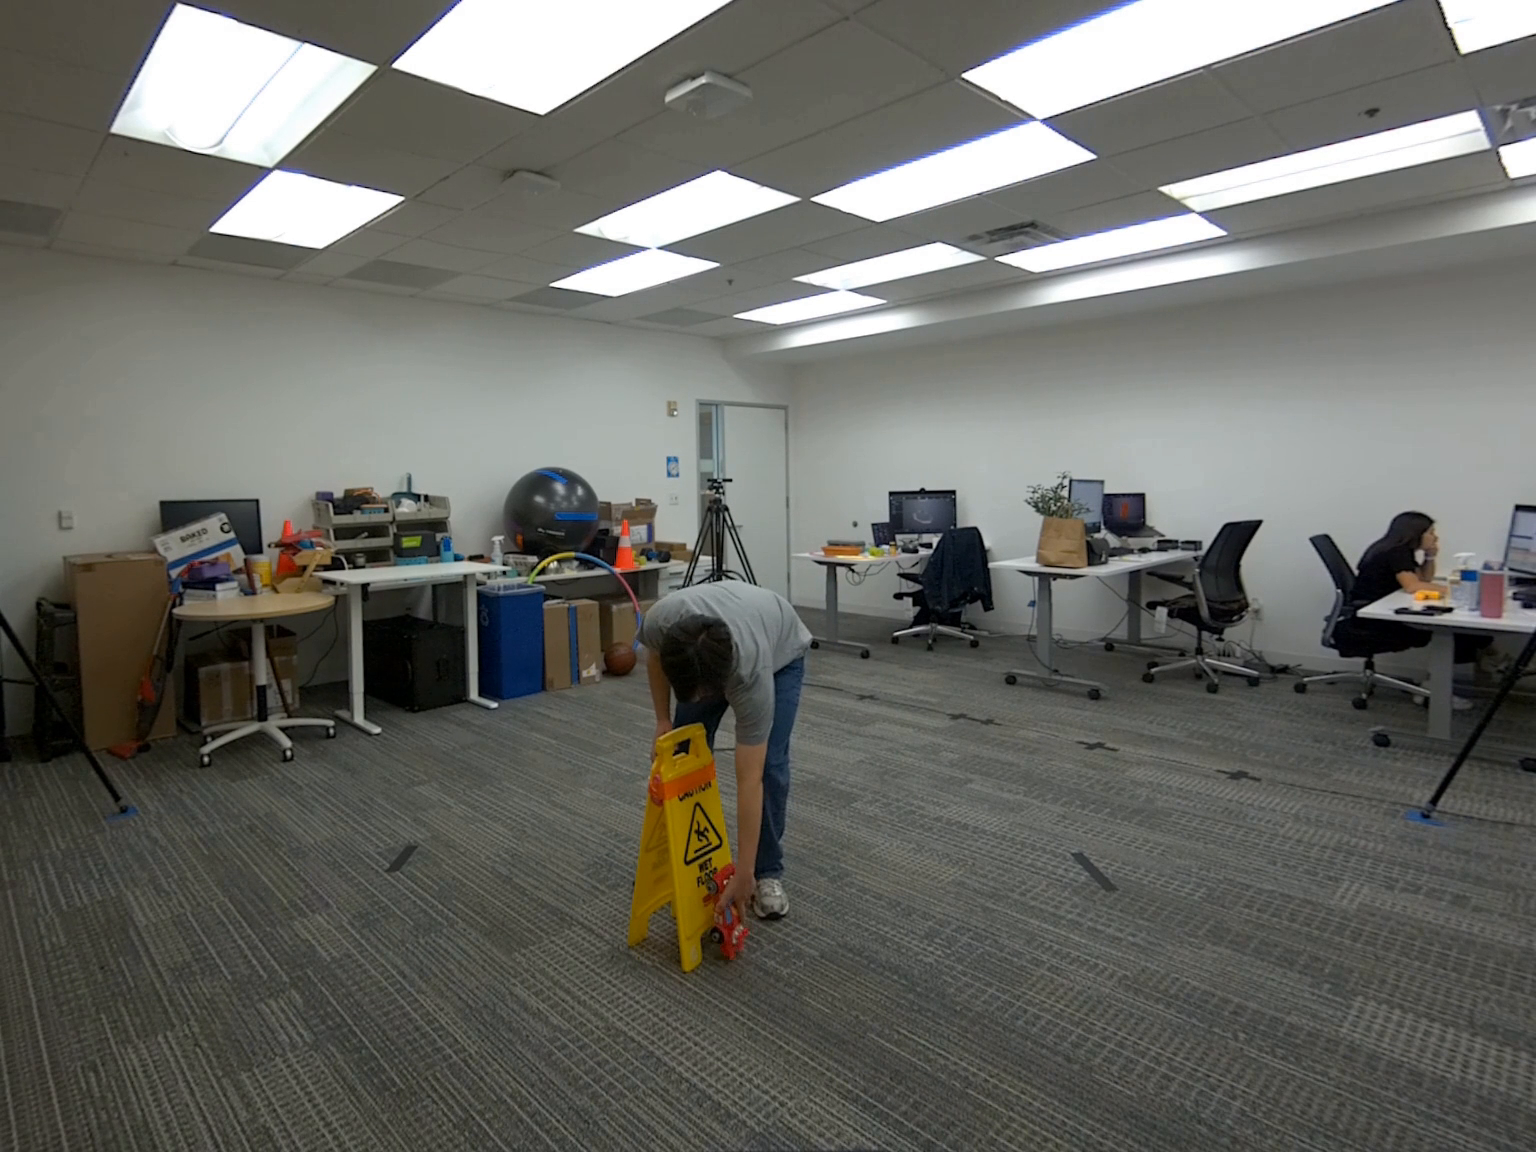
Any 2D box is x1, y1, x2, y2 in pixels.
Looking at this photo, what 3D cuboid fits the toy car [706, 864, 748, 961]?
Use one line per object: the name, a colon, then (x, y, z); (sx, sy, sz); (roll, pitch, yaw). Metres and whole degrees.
toy car: (-0.129, 0.981, 2.506); (0.084, 0.256, 0.128); (-25, -6, 25)
